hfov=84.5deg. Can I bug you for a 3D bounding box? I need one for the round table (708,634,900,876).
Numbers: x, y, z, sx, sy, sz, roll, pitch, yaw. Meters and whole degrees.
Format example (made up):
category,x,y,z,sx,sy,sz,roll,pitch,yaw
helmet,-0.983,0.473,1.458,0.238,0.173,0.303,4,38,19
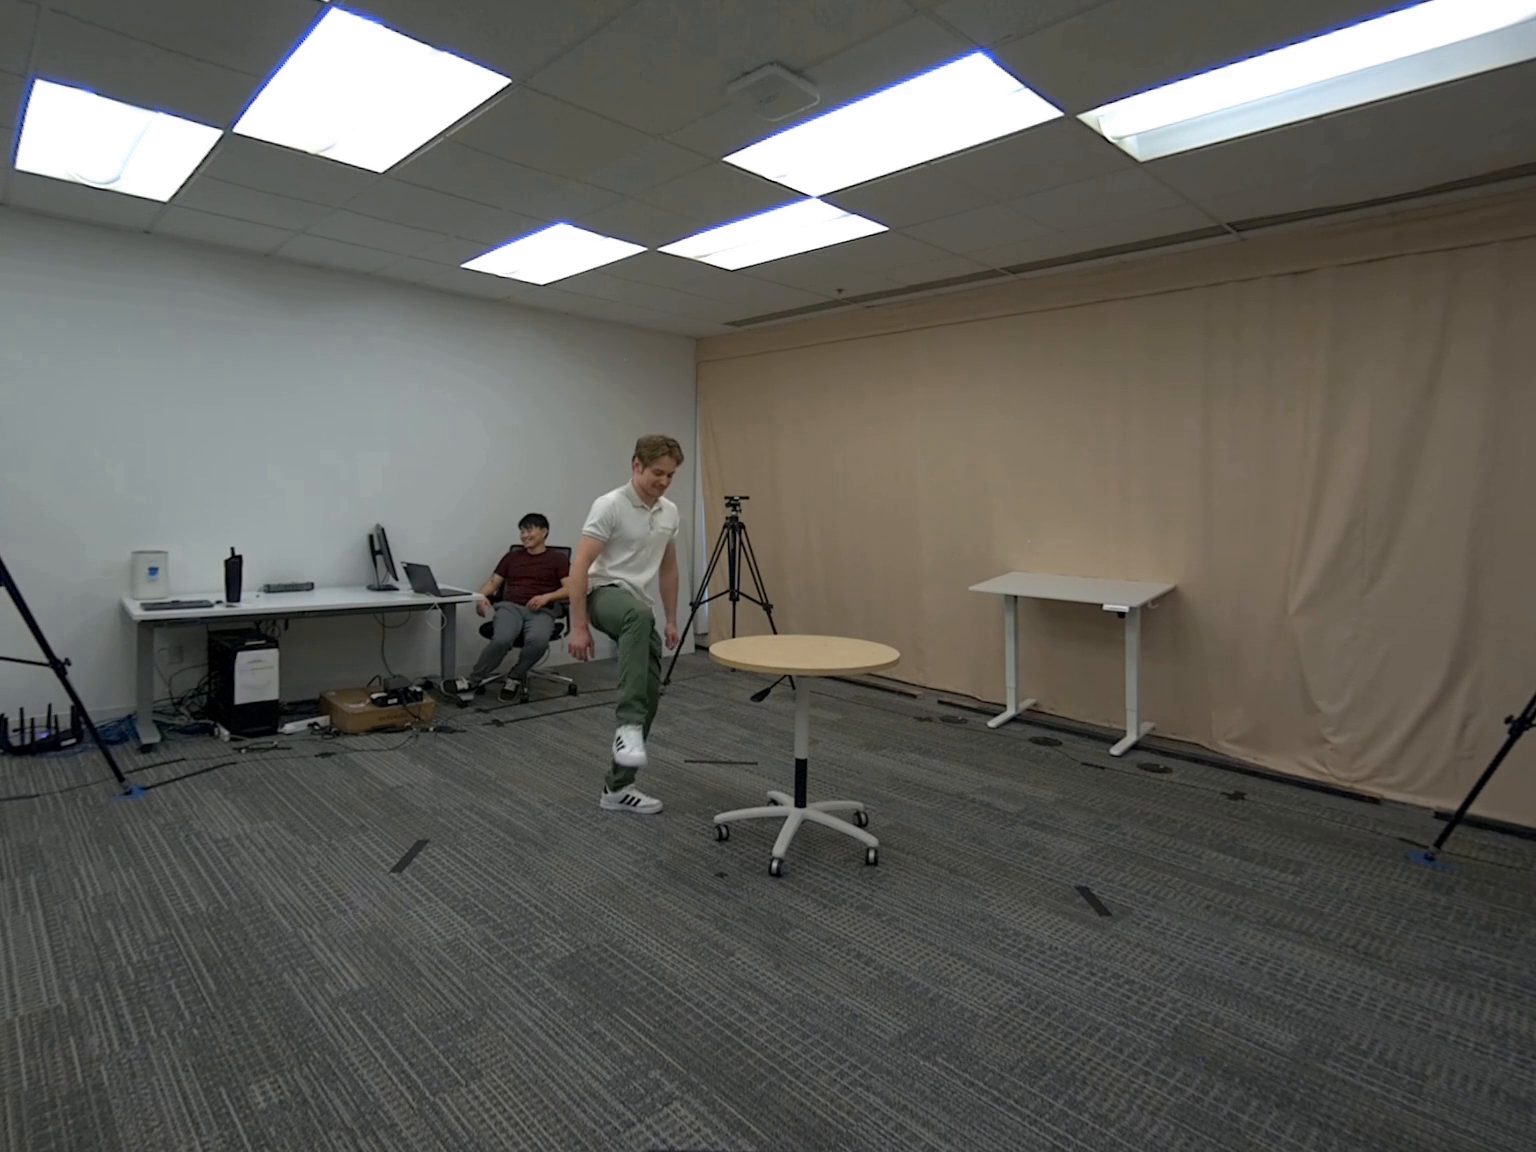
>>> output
category,x,y,z,sx,sy,sz,roll,pitch,yaw
round table,0.134,0.694,3.417,0.763,0.792,0.766,1,4,-1
